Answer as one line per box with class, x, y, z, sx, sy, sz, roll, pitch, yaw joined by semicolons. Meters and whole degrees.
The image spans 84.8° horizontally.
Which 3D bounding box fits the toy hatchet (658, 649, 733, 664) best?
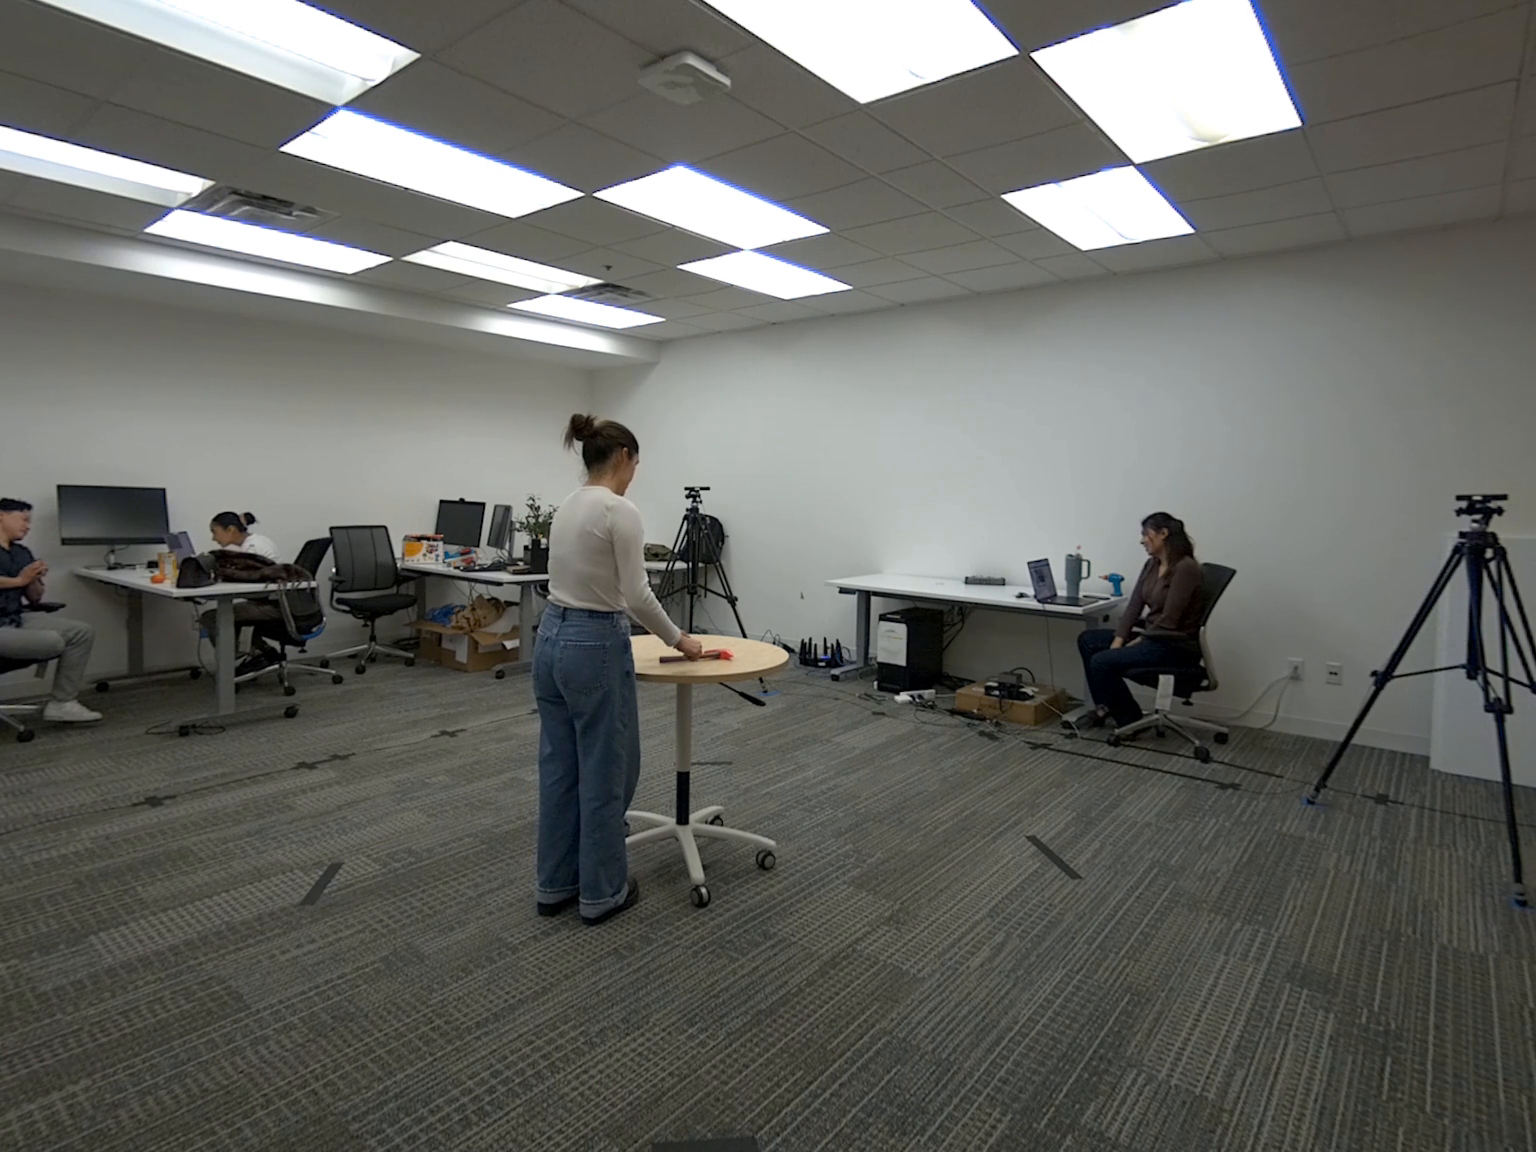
toy hatchet;-0.270;0.280;3.024;0.267;0.029;0.133;-1;6;-12
